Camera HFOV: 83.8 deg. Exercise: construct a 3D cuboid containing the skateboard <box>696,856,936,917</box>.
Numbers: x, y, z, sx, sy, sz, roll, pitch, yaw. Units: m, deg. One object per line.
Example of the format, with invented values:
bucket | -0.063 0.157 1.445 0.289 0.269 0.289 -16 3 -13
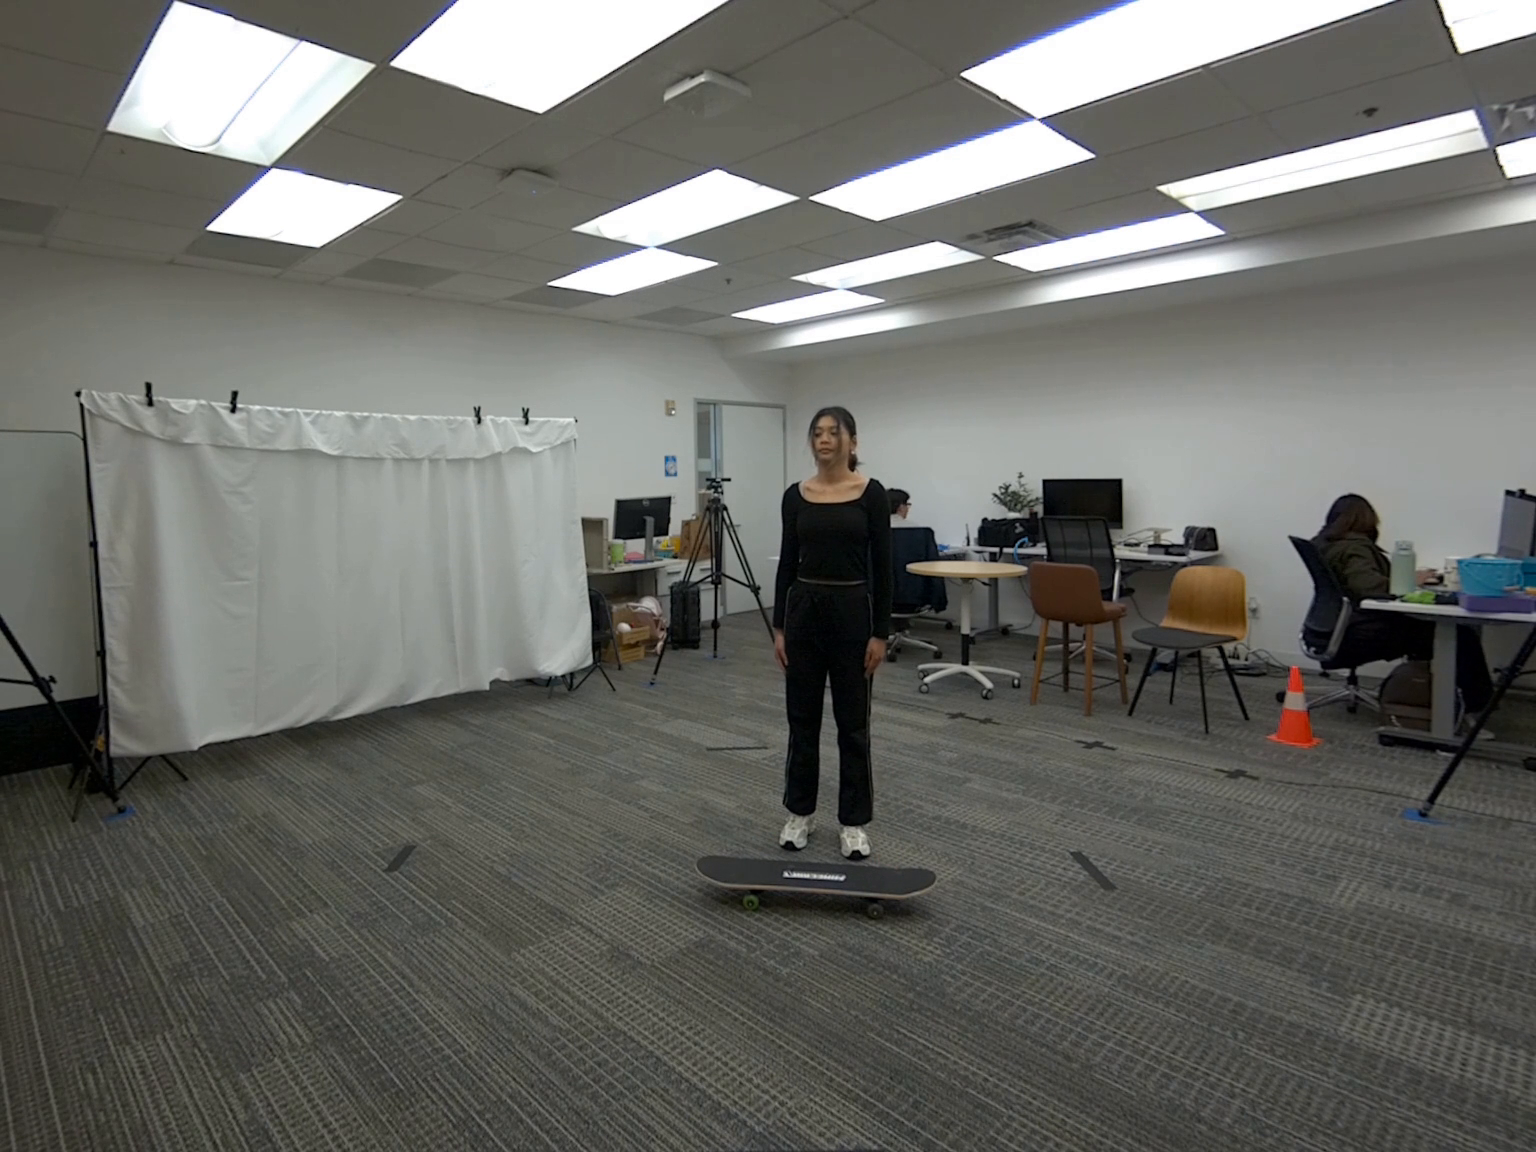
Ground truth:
skateboard | 0.149 1.013 2.807 0.794 0.110 0.192 0 6 11
